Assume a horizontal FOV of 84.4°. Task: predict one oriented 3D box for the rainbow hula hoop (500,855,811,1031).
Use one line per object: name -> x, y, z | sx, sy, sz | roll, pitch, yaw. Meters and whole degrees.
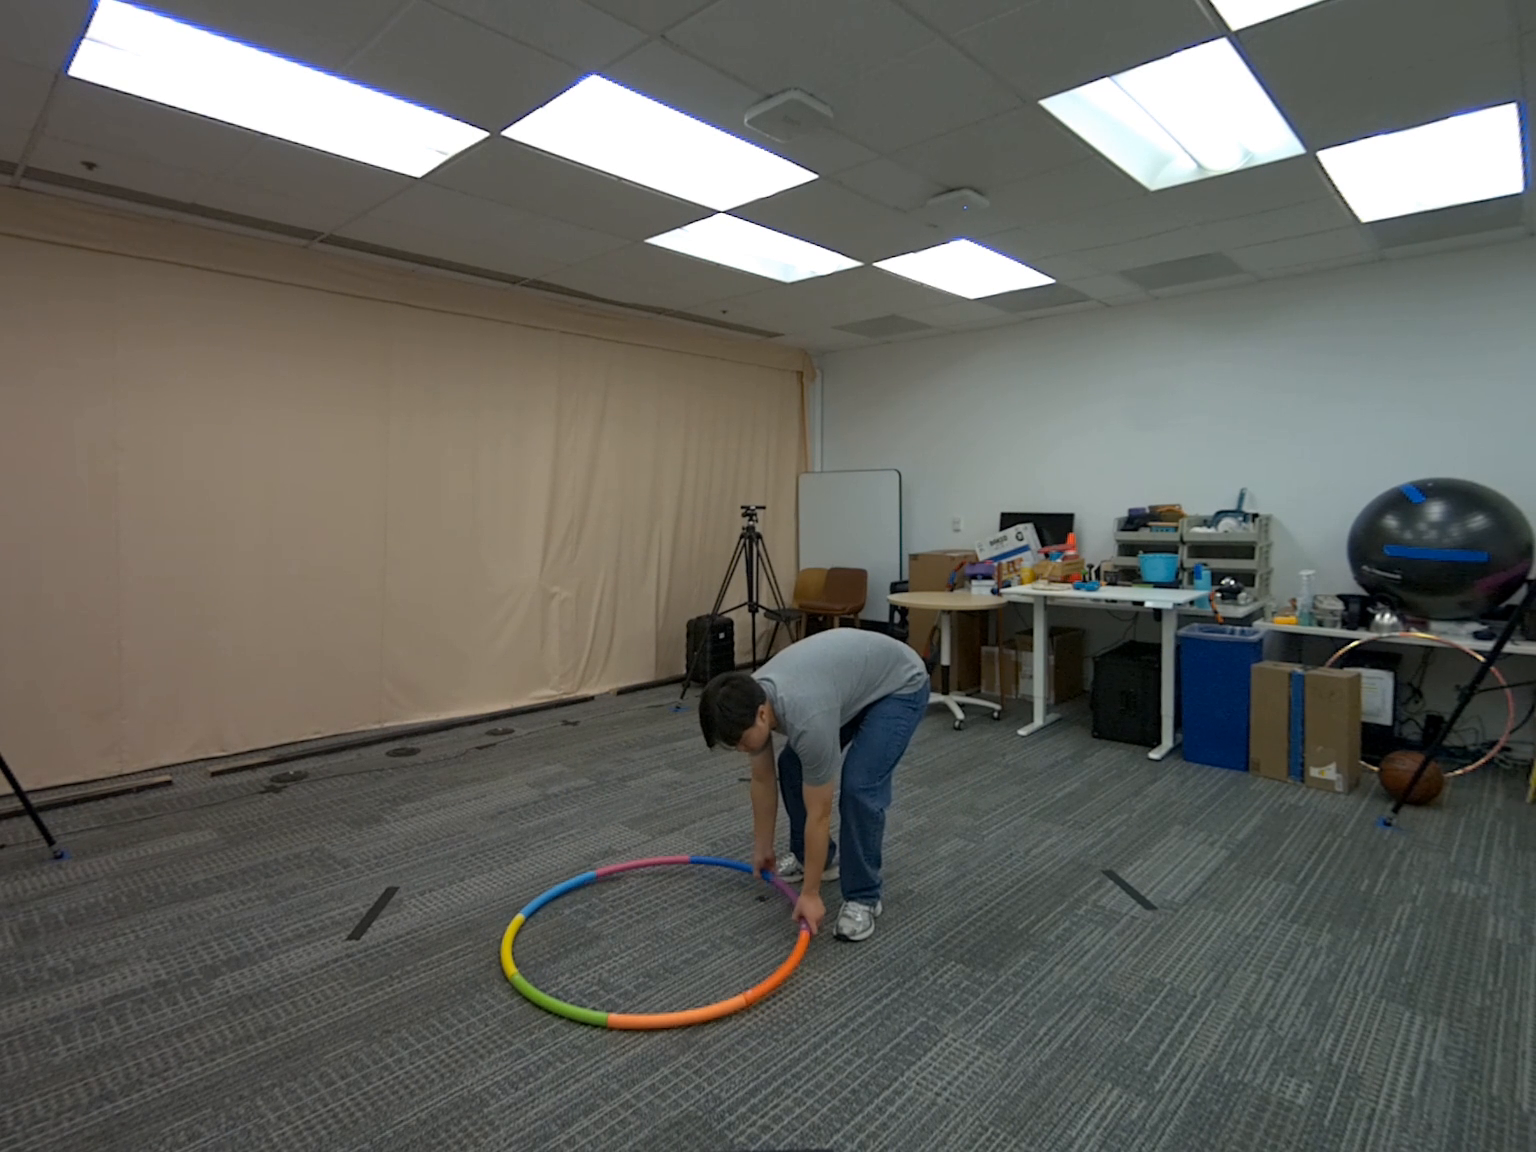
rainbow hula hoop -> -0.358, 1.110, 2.720 | 0.978, 0.035, 0.983 | -4, 7, -1
